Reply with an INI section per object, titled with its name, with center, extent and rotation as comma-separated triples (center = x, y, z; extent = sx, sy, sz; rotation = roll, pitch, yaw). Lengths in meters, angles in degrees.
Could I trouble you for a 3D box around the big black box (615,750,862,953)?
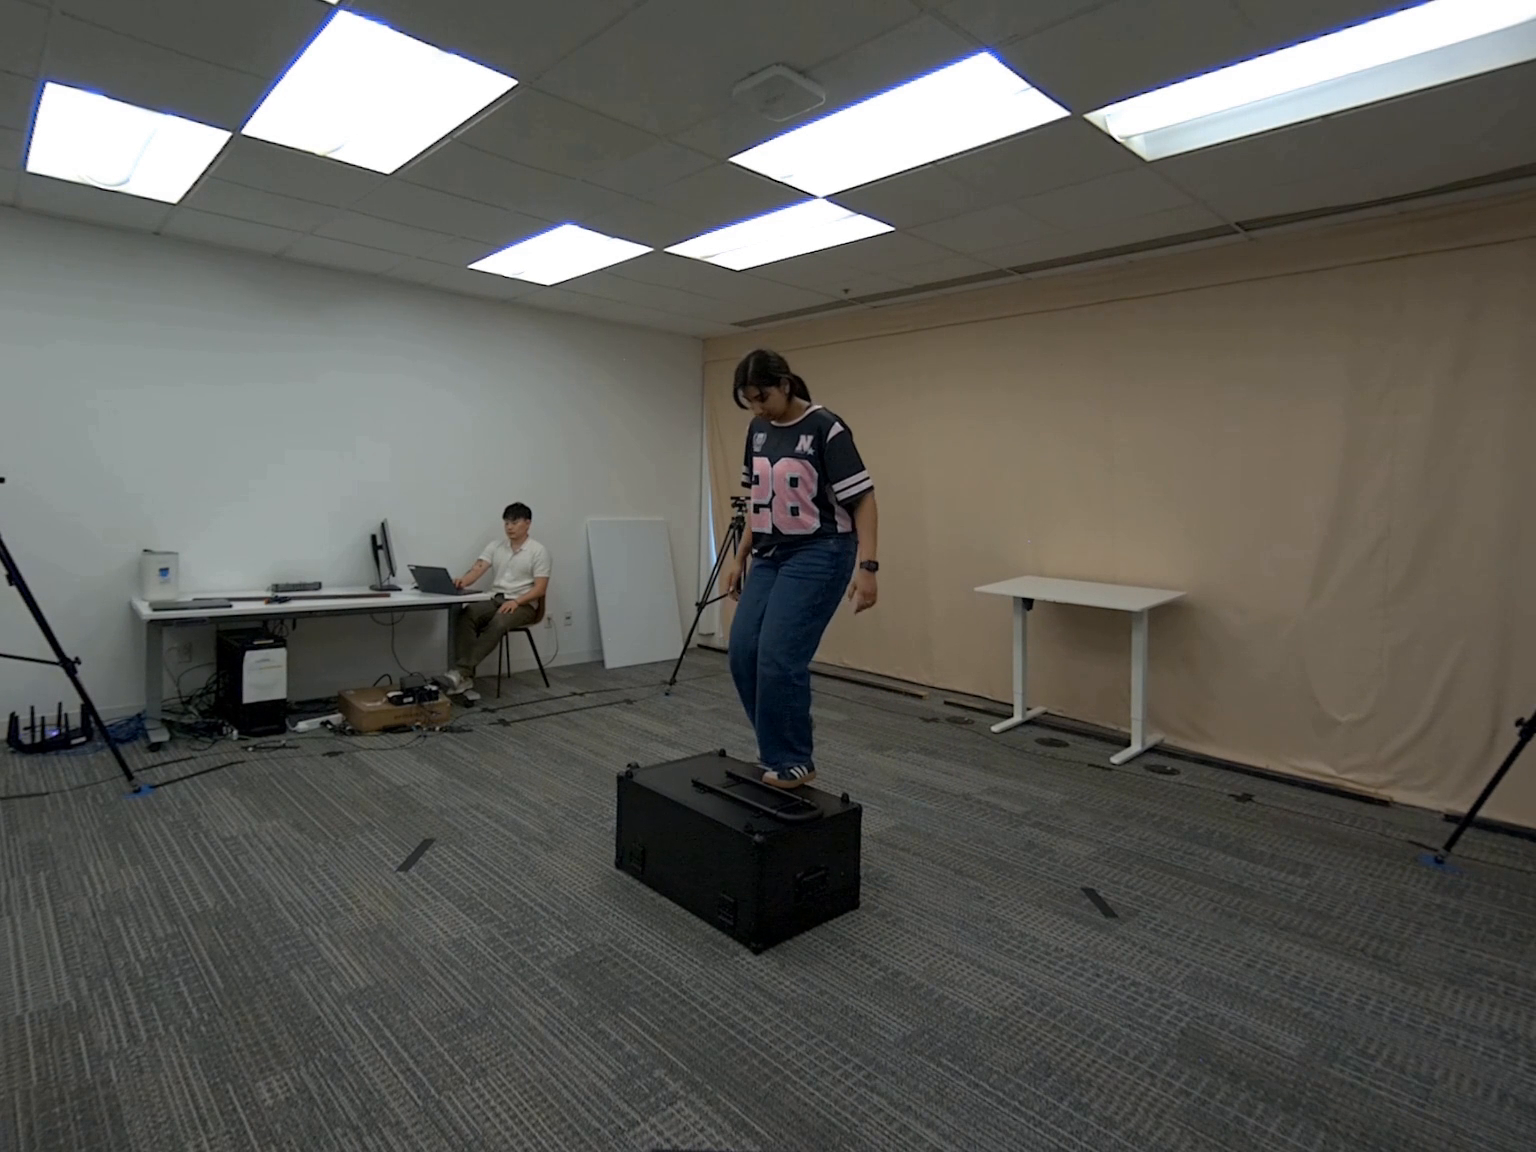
[big black box]
center = -0.160, 0.929, 3.020
extent = 0.512, 0.384, 0.891
rotation = -4, 7, -42
